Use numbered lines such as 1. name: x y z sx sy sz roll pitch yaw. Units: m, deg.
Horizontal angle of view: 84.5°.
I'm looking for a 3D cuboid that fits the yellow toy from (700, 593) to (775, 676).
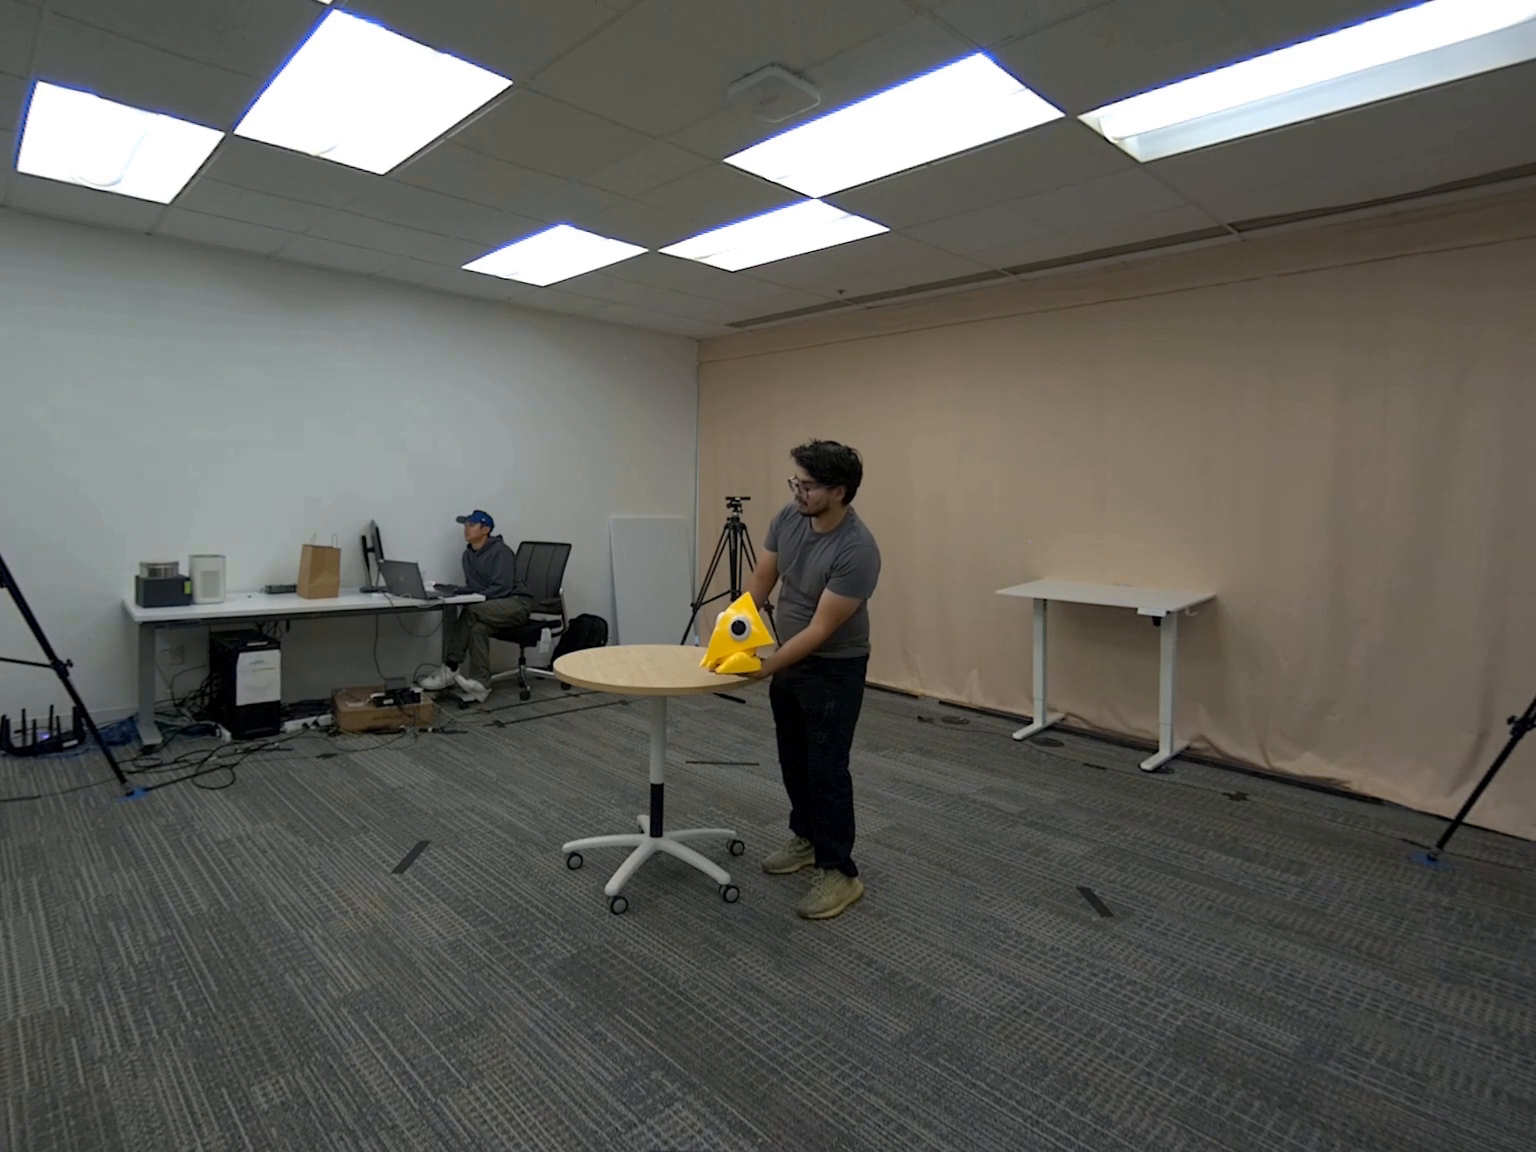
1. yellow toy: -0.114 0.172 2.633 0.189 0.230 0.209 -3 3 -30
